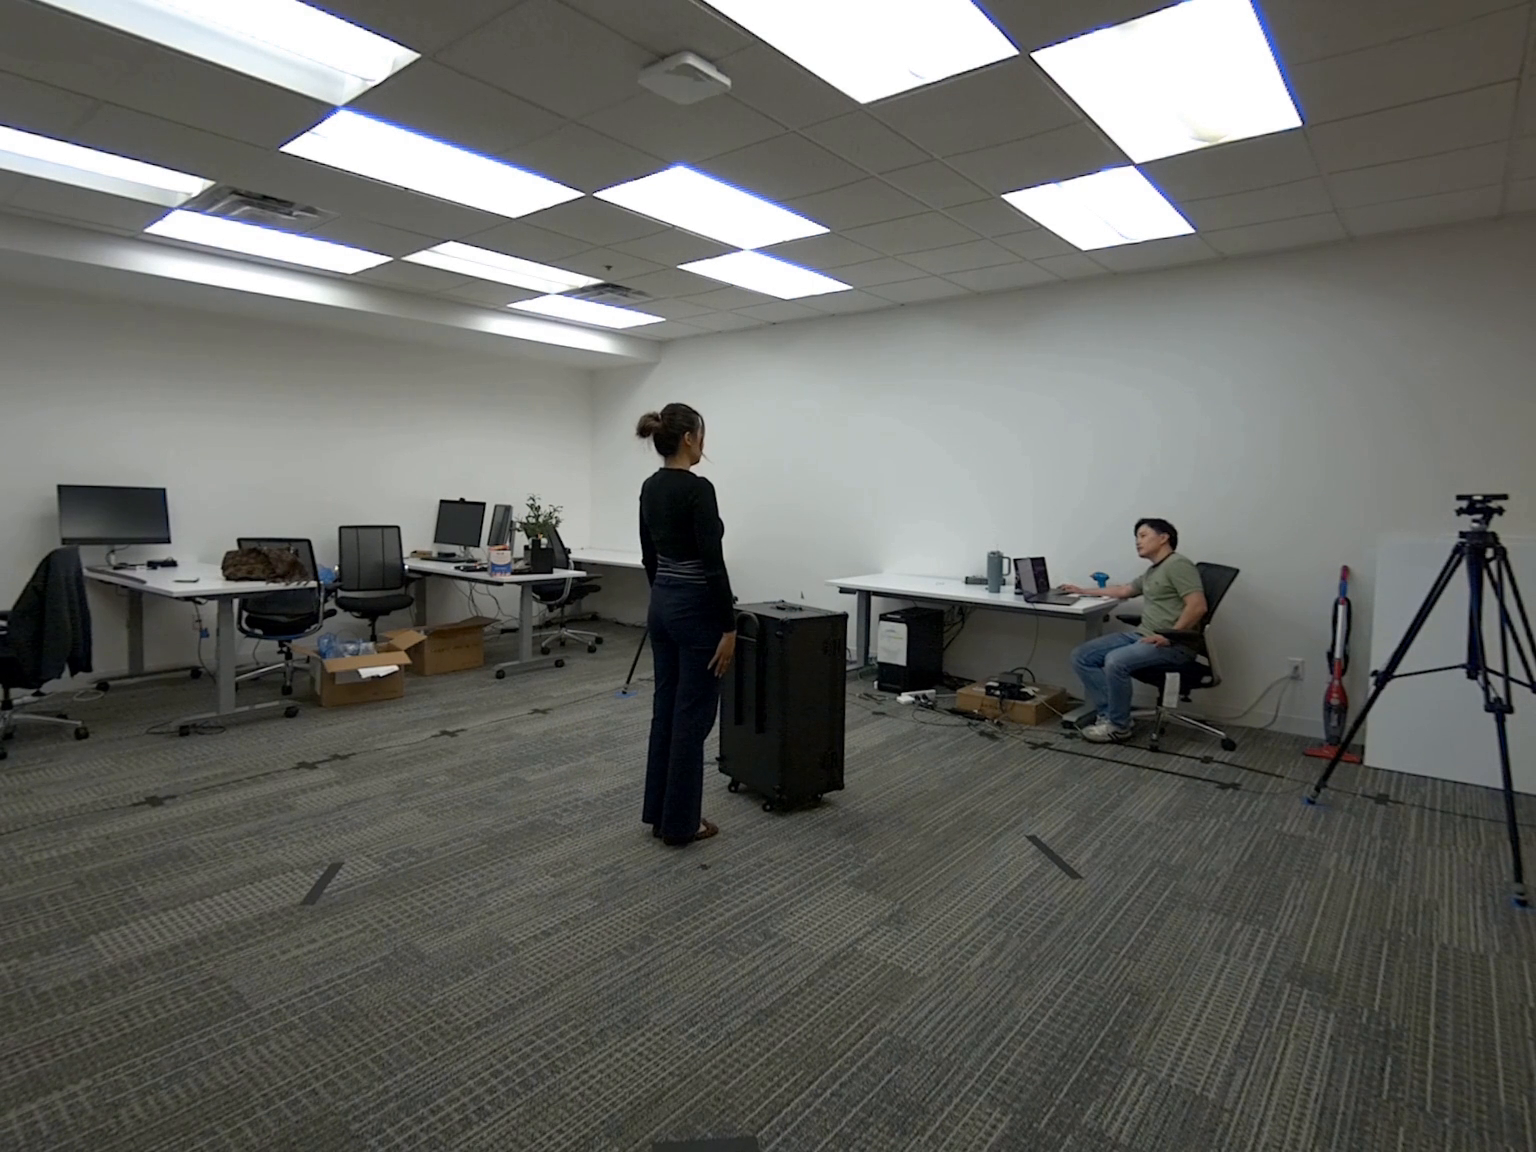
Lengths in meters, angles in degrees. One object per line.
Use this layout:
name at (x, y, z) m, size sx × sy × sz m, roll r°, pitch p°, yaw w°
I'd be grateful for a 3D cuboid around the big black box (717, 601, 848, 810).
big black box at (0.044, 0.569, 3.840) m, size 0.385 × 0.858 × 0.538 m, roll -2°, pitch 5°, yaw -35°
